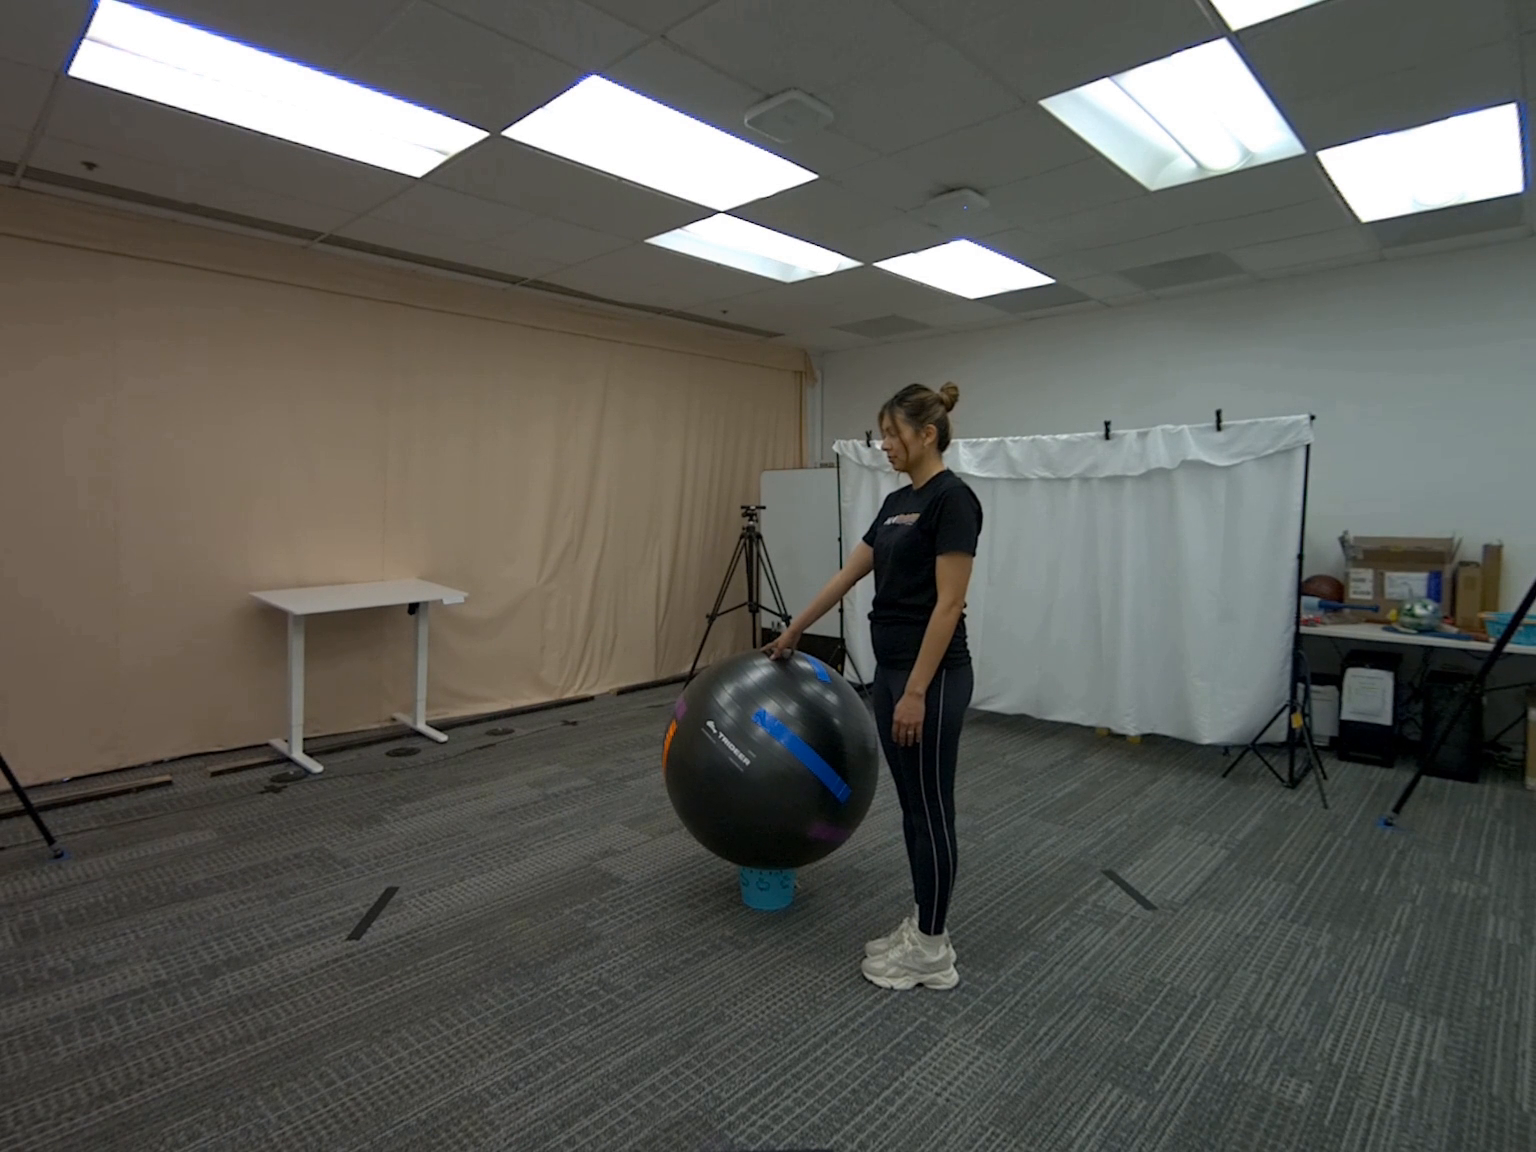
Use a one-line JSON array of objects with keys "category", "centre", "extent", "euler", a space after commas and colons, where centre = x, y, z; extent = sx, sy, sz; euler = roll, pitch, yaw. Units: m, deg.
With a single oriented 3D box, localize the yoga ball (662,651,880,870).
[{"category": "yoga ball", "centre": [0.011, 0.641, 2.963], "extent": [0.757, 0.756, 0.760], "euler": [0, 4, -2]}]
